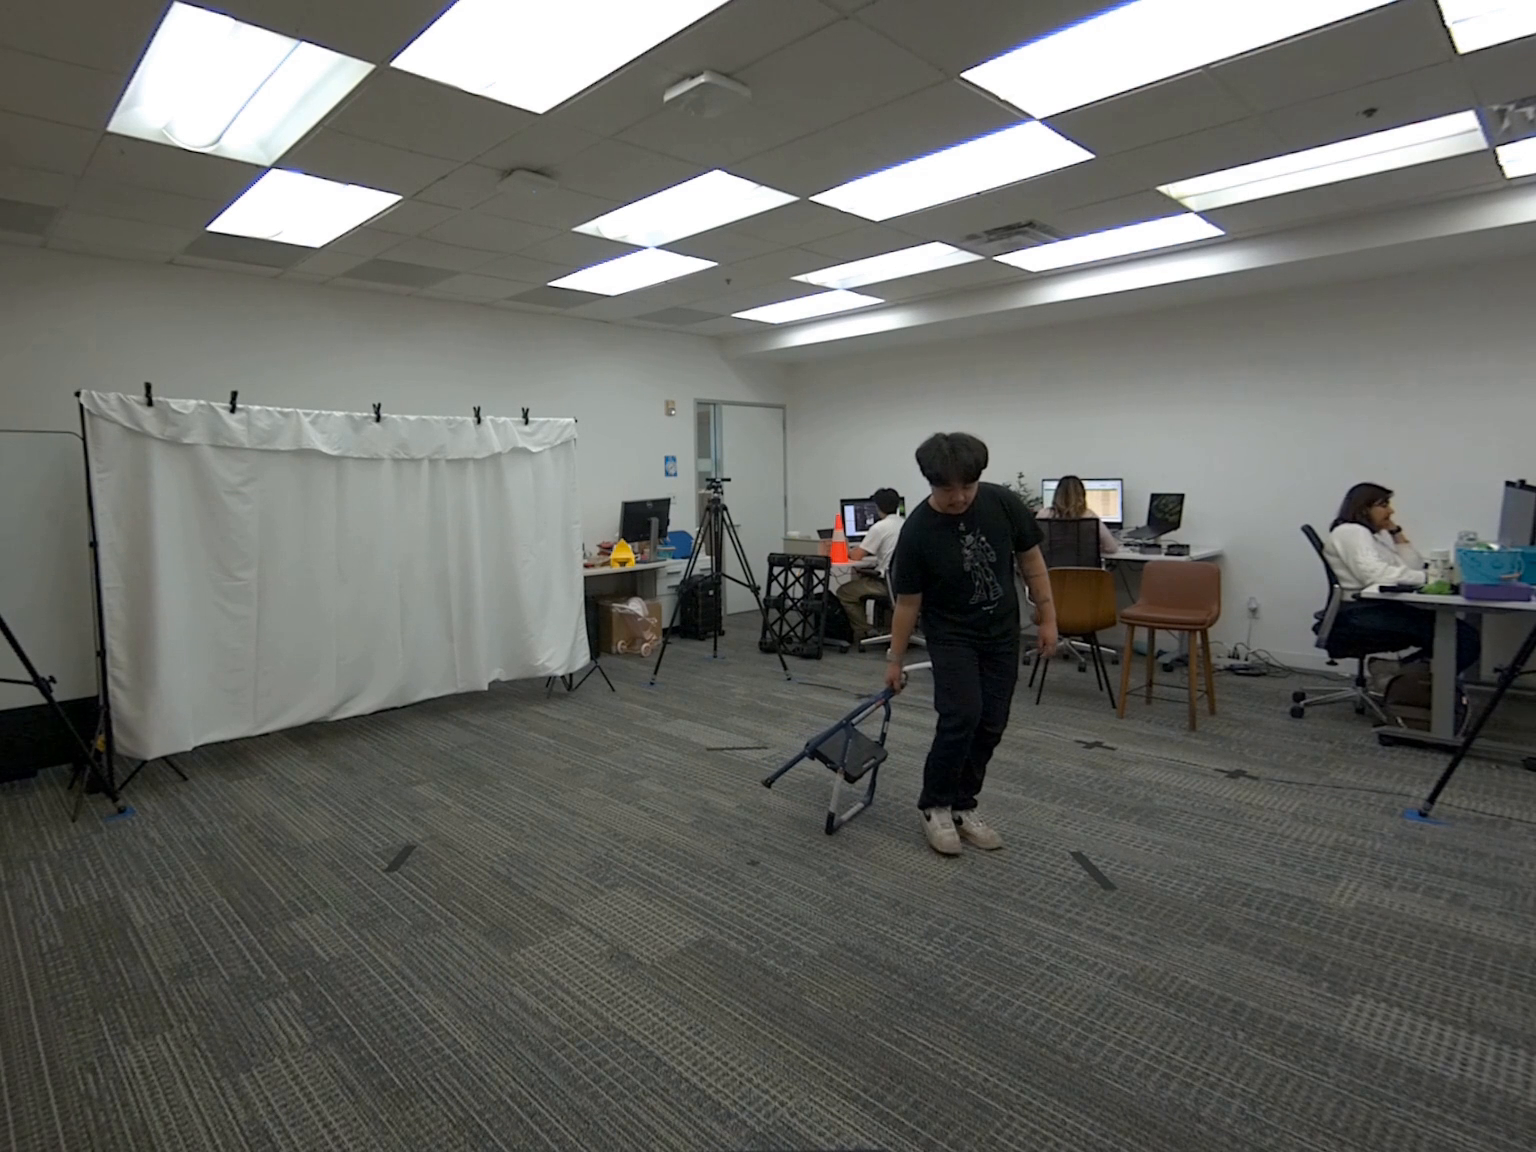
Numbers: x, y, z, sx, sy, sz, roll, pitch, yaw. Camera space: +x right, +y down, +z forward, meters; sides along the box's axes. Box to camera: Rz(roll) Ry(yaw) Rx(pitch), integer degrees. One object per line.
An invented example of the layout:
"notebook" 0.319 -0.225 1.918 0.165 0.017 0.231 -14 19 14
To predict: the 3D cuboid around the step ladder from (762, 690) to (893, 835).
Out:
"step ladder" 0.324 0.655 3.491 0.360 0.601 0.421 33 21 25
